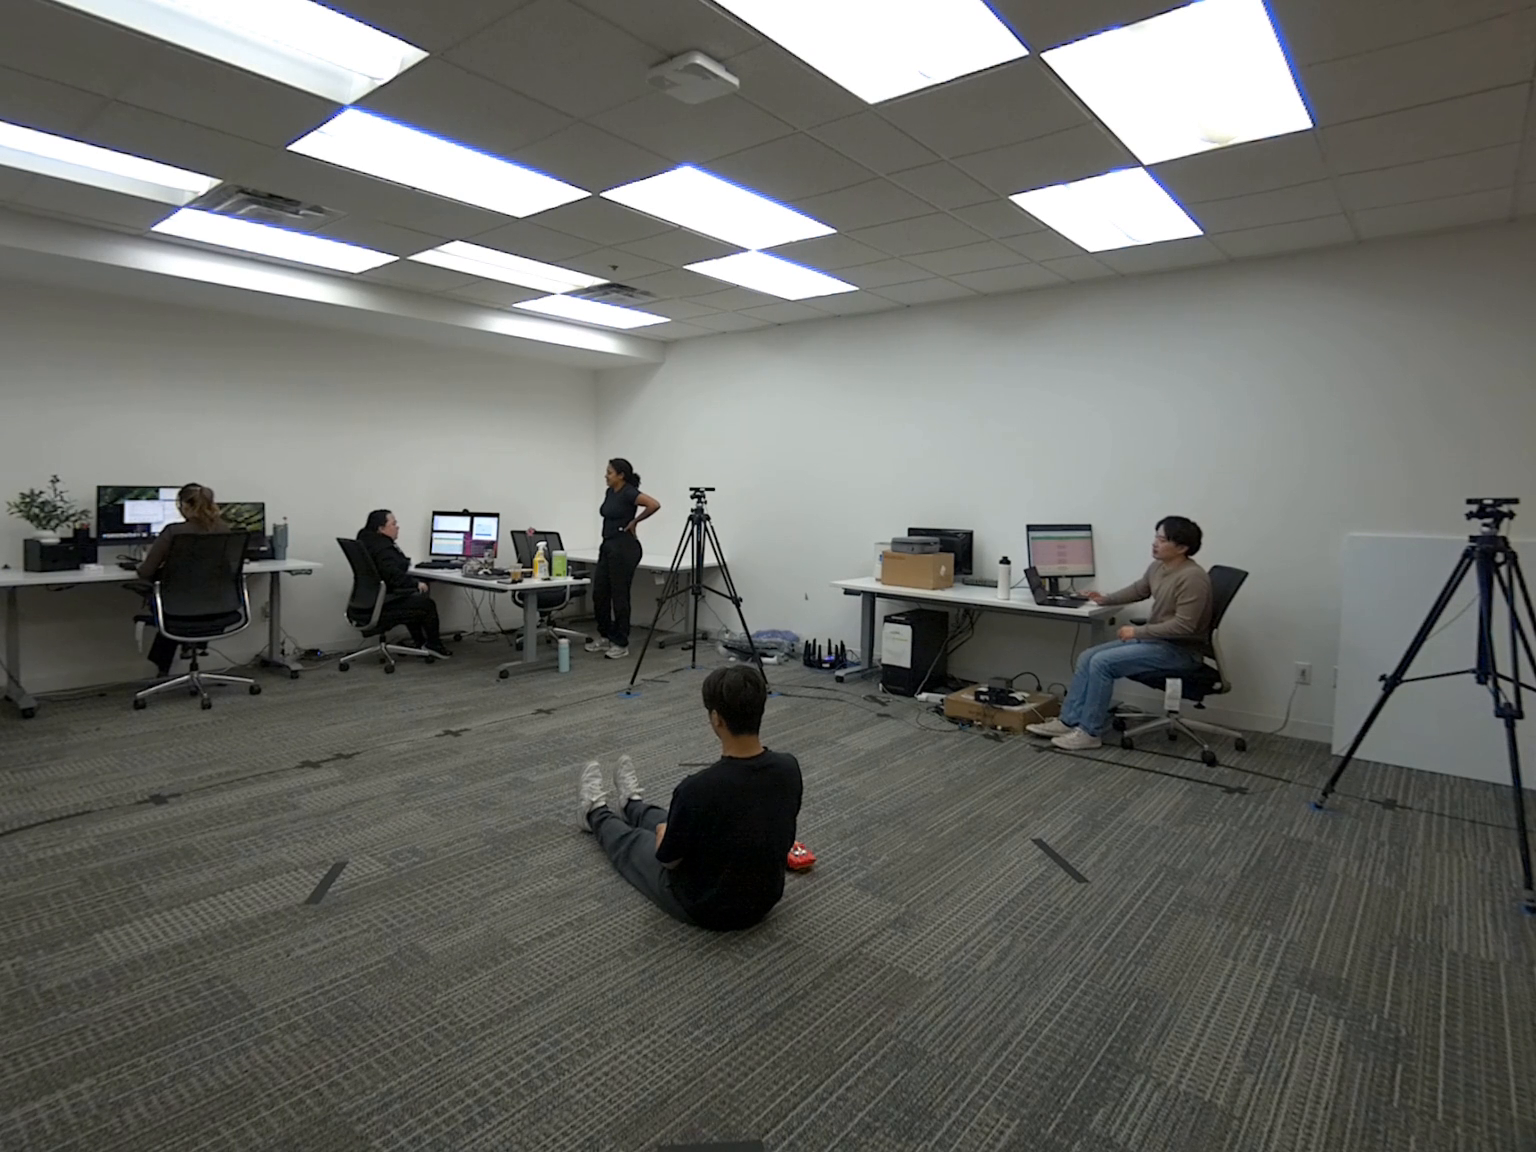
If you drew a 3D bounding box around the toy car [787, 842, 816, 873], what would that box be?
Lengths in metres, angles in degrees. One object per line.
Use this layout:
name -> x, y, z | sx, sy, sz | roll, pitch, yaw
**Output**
toy car -> 0.081, 1.038, 3.183 | 0.127, 0.084, 0.259 | 0, -5, -28
